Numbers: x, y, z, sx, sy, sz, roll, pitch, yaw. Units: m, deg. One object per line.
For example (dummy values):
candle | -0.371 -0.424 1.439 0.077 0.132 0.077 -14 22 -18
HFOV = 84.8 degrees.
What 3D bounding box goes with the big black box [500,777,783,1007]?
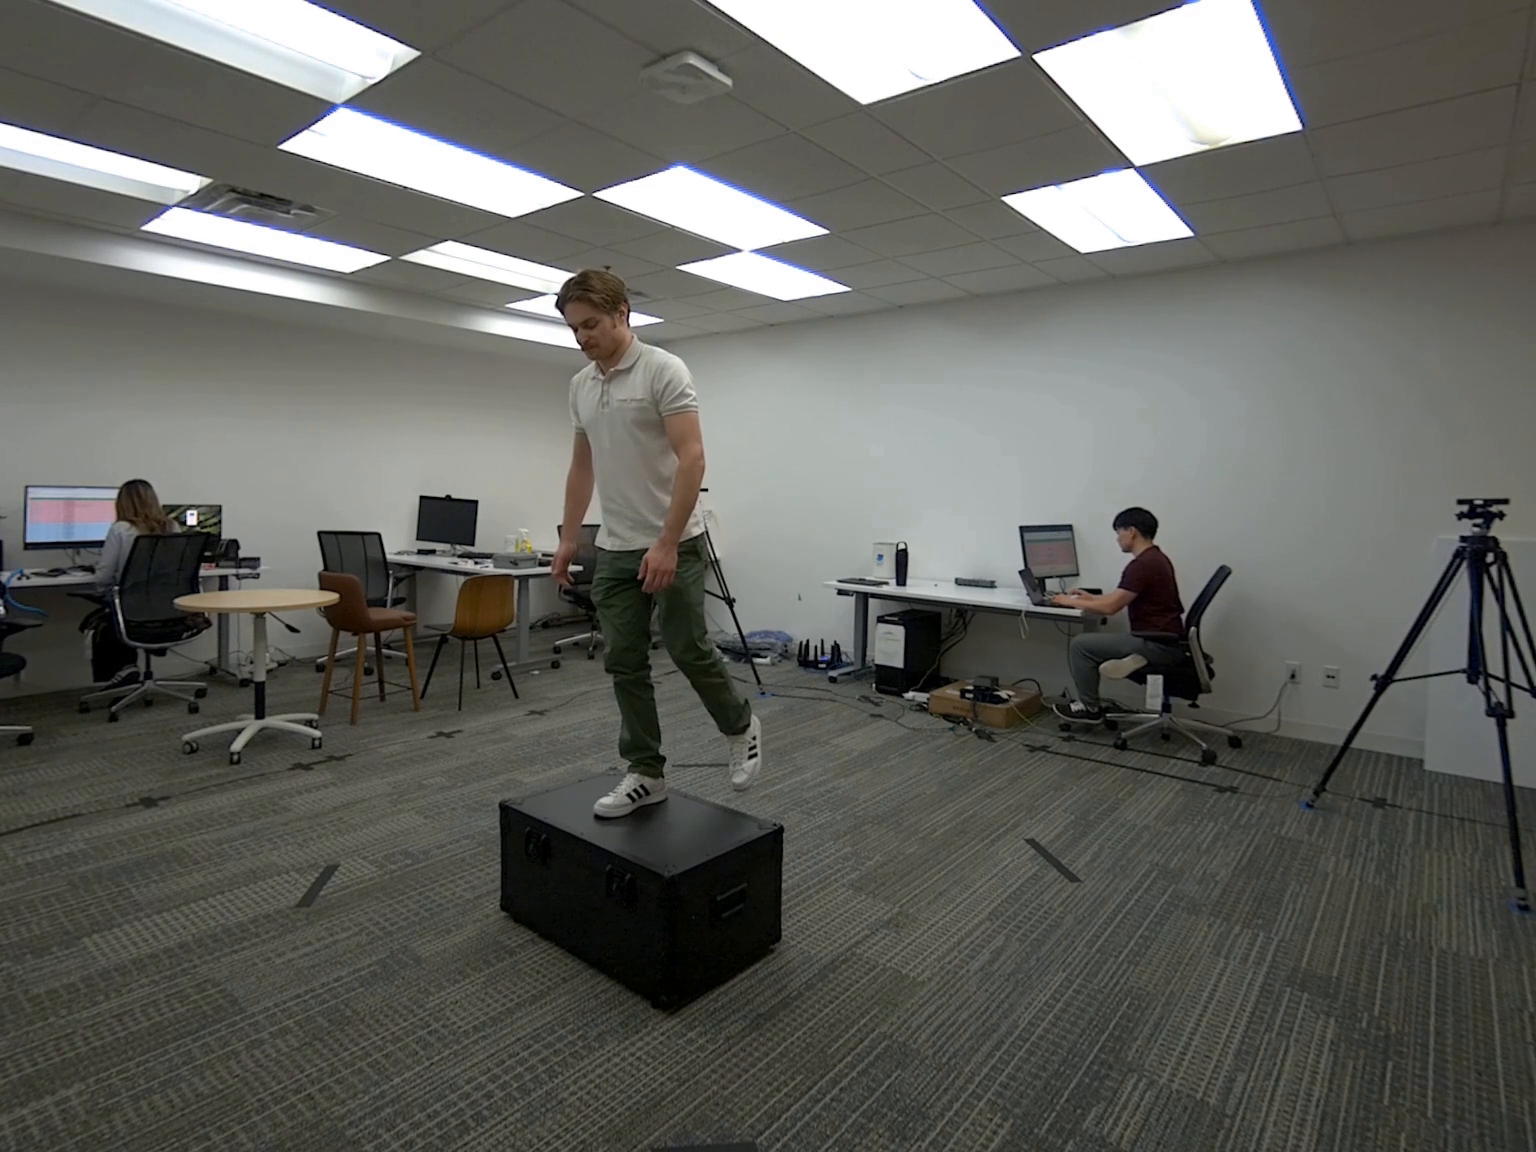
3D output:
big black box | -0.441 0.920 2.673 0.891 0.395 0.506 6 6 40
